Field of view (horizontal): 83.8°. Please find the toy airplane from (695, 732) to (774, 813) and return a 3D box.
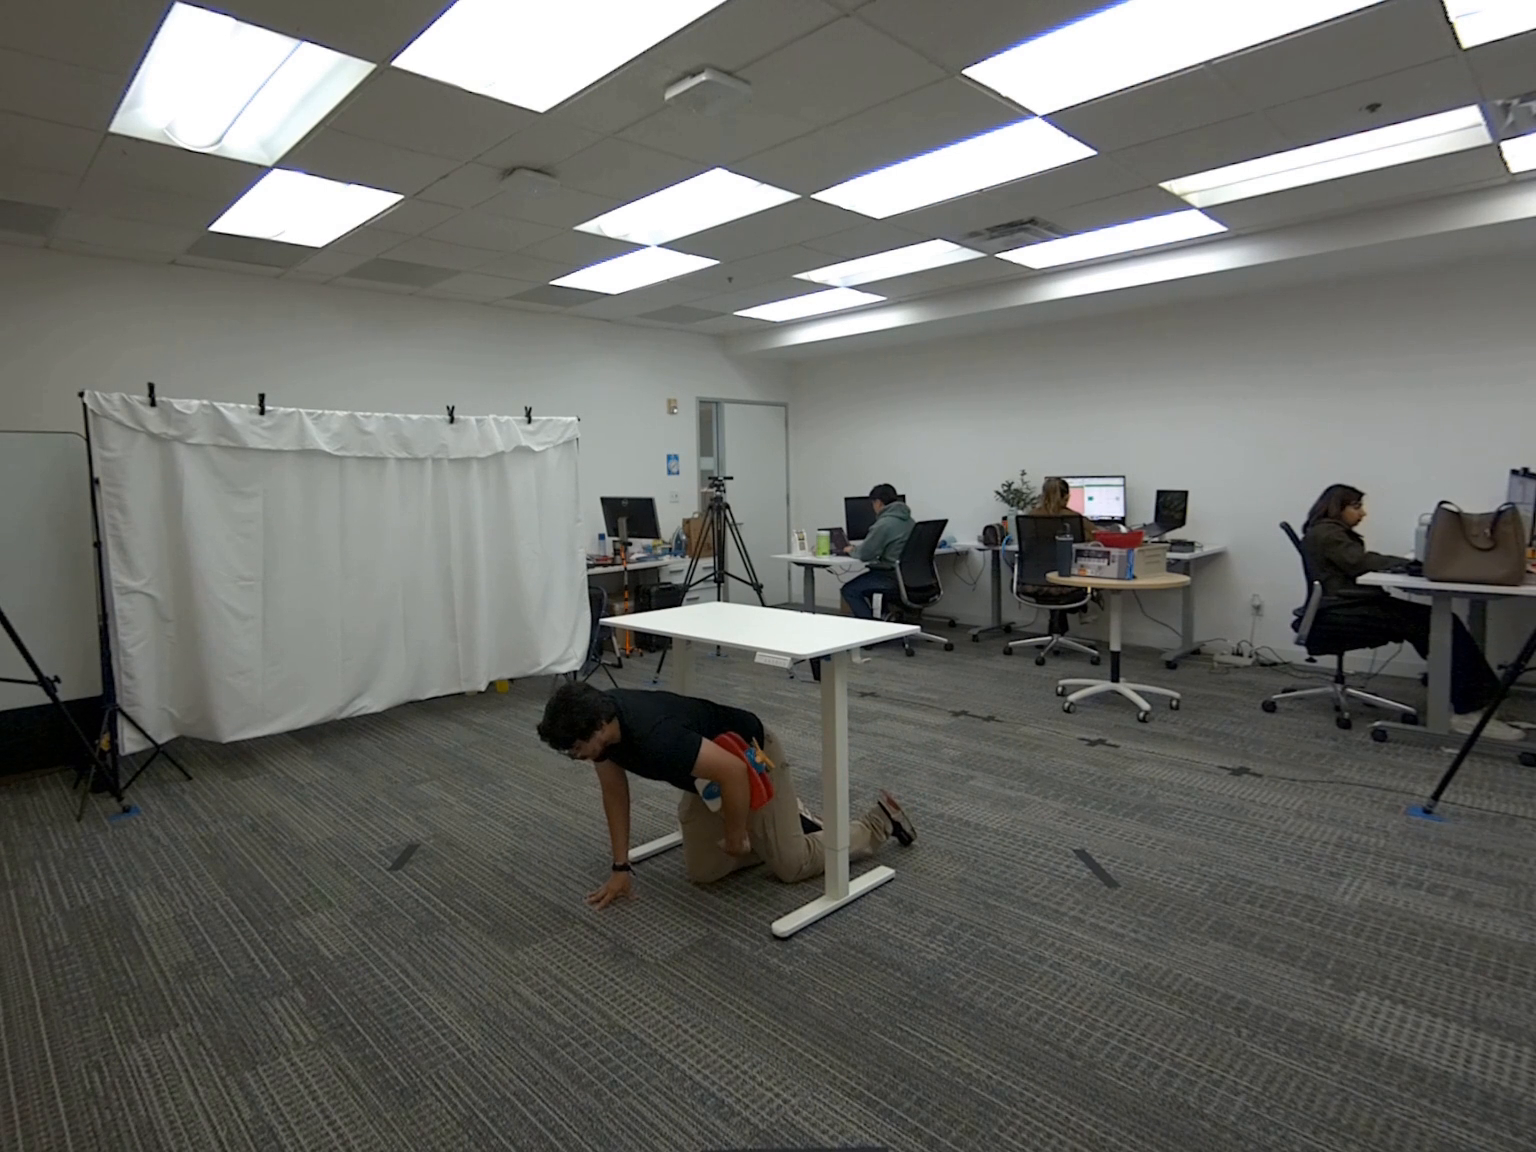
[{"bbox_3d":[-0.112,0.671,2.789,0.255,0.260,0.153,28,-11,11],"label":"toy airplane"}]
